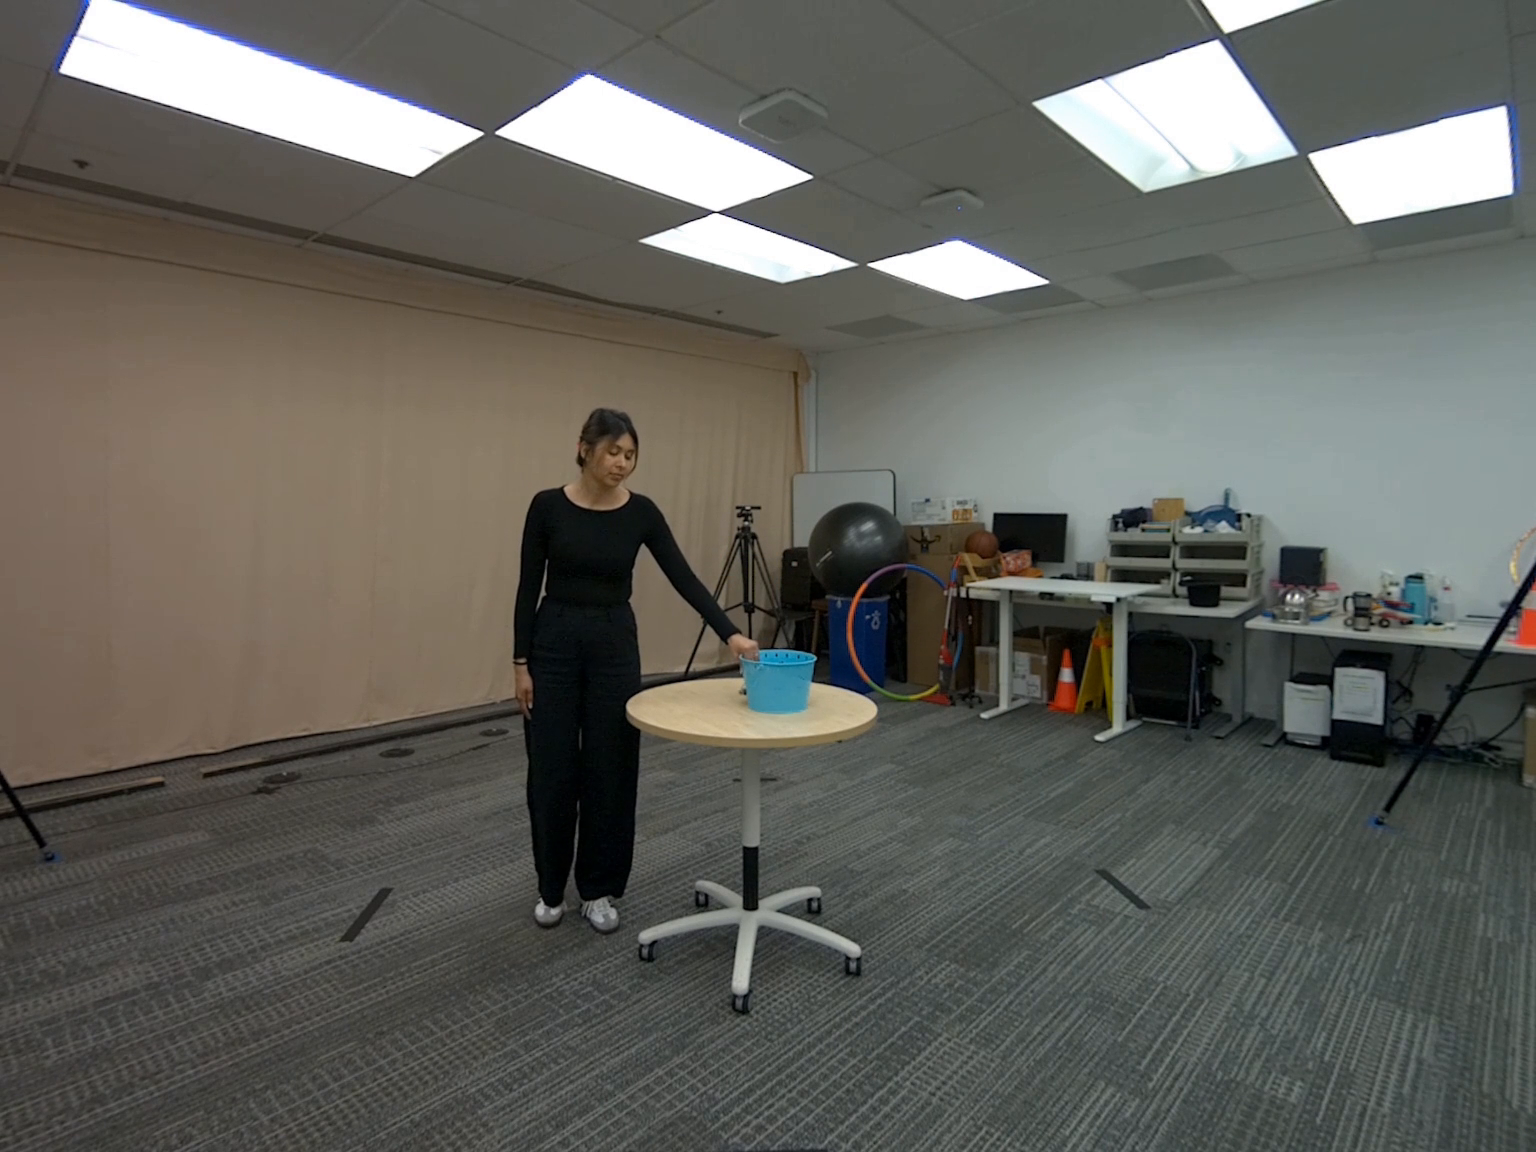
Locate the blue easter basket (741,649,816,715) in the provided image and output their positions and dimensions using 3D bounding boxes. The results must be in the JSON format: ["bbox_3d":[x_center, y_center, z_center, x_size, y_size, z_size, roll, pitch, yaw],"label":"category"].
[{"bbox_3d":[0.027,0.327,2.557,0.243,0.155,0.245,0,5,-2],"label":"blue easter basket"}]
